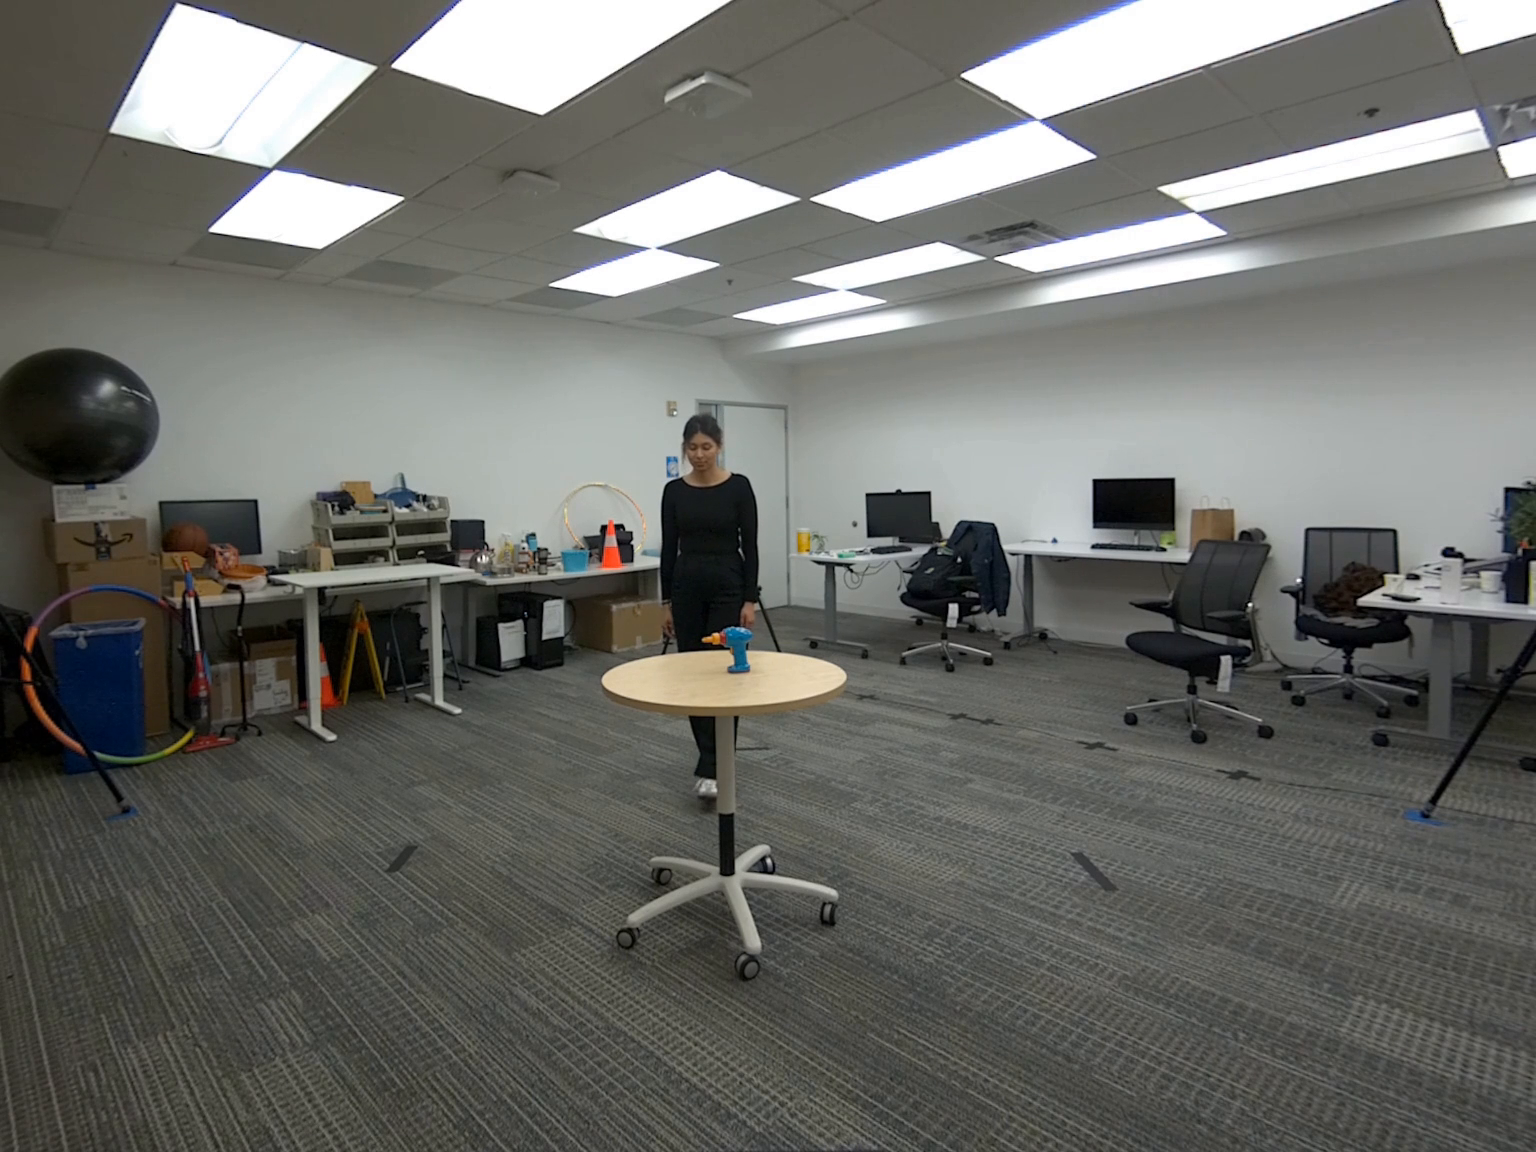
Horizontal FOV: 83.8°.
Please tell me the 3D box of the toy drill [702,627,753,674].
[{"bbox_3d":[-0.133,0.239,2.709,0.166,0.145,0.062,-4,4,-22],"label":"toy drill"}]
